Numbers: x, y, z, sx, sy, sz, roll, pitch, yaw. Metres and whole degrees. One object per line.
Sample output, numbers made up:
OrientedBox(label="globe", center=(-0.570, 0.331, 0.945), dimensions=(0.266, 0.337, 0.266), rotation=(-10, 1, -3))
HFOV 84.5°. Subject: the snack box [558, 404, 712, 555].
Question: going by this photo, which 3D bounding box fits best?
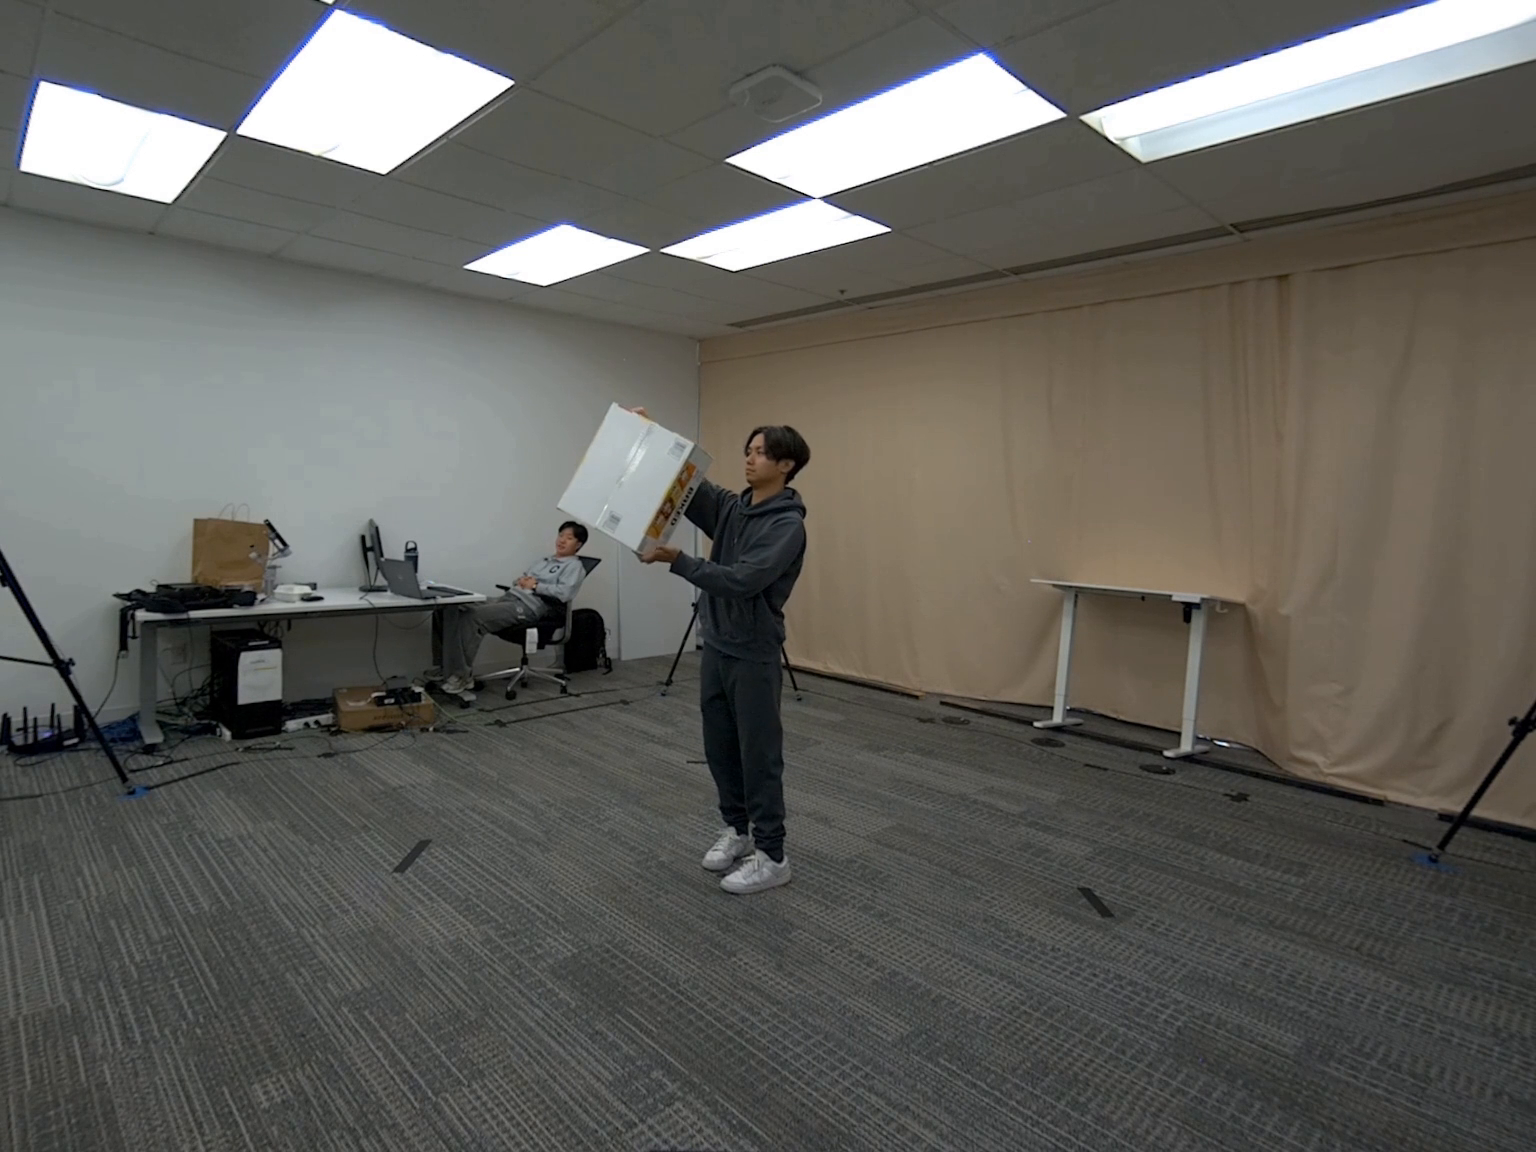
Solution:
OrientedBox(label="snack box", center=(-0.463, -0.317, 2.856), dimensions=(0.346, 0.405, 0.202), rotation=(27, -2, 17))
